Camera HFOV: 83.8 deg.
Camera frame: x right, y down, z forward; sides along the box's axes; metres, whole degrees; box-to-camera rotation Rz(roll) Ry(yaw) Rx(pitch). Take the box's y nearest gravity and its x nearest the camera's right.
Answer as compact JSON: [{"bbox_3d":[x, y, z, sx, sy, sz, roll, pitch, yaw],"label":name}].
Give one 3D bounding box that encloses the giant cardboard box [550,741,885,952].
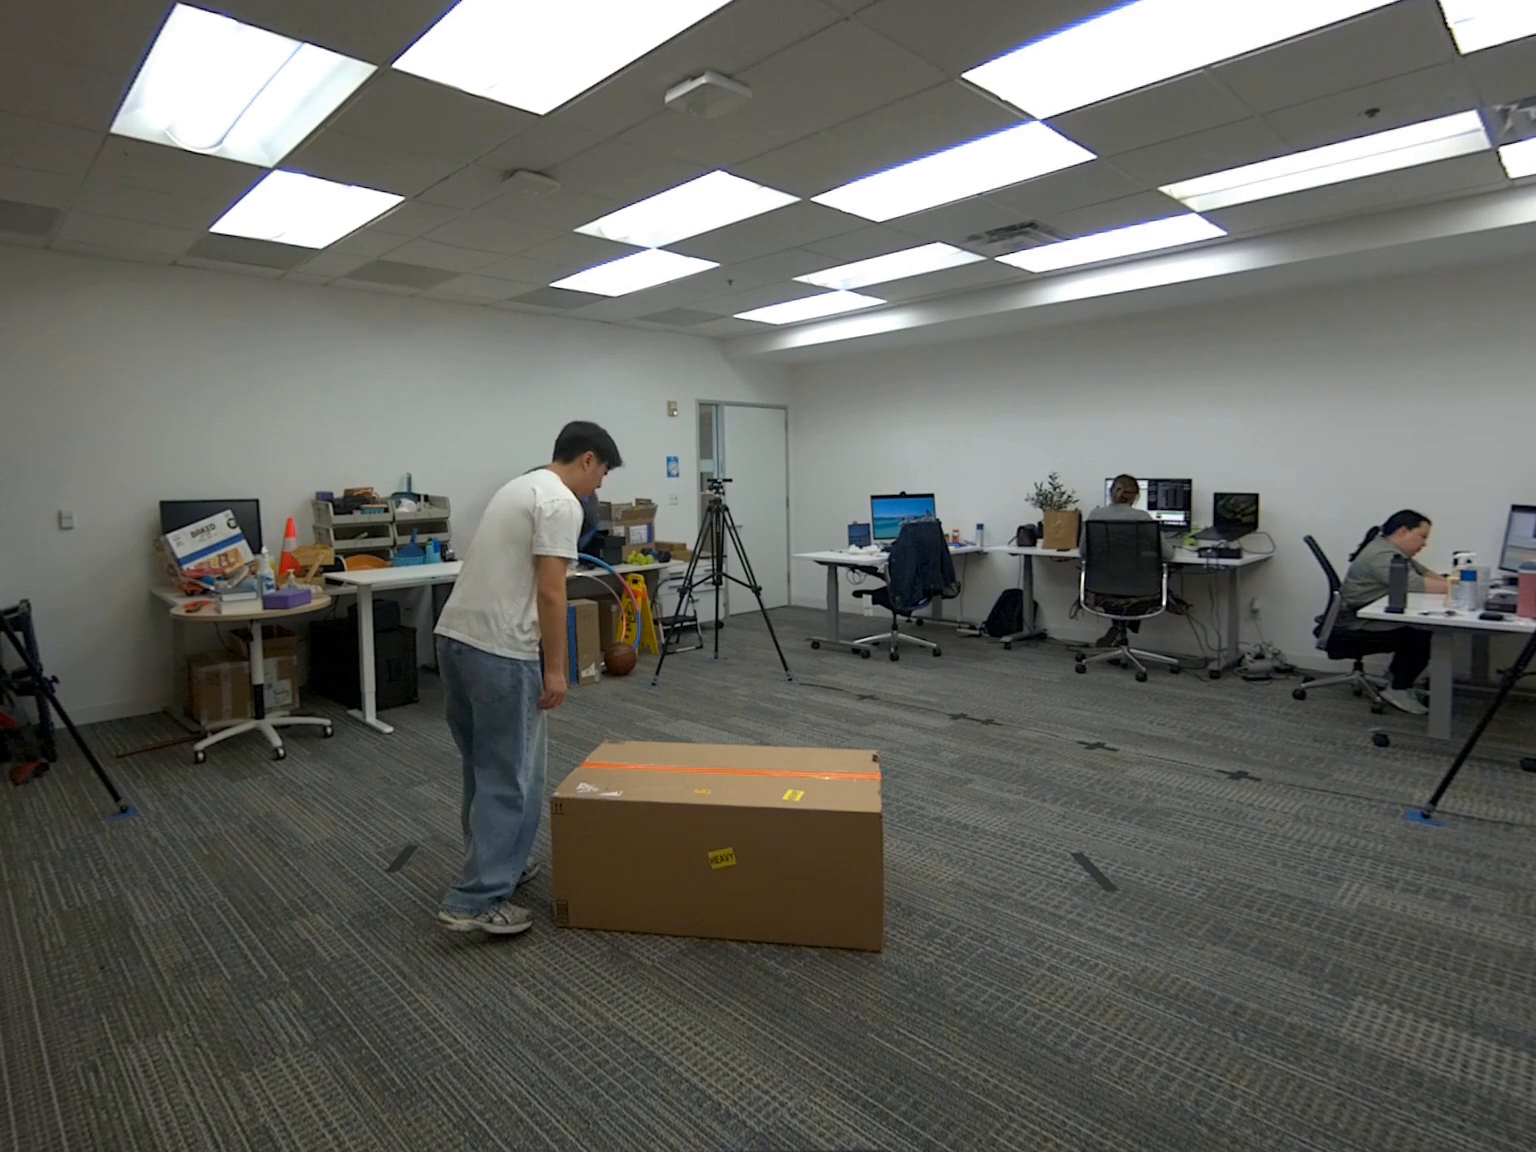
[{"bbox_3d":[-0.135,0.855,2.865,1.035,0.424,0.575,0,6,9],"label":"giant cardboard box"}]
